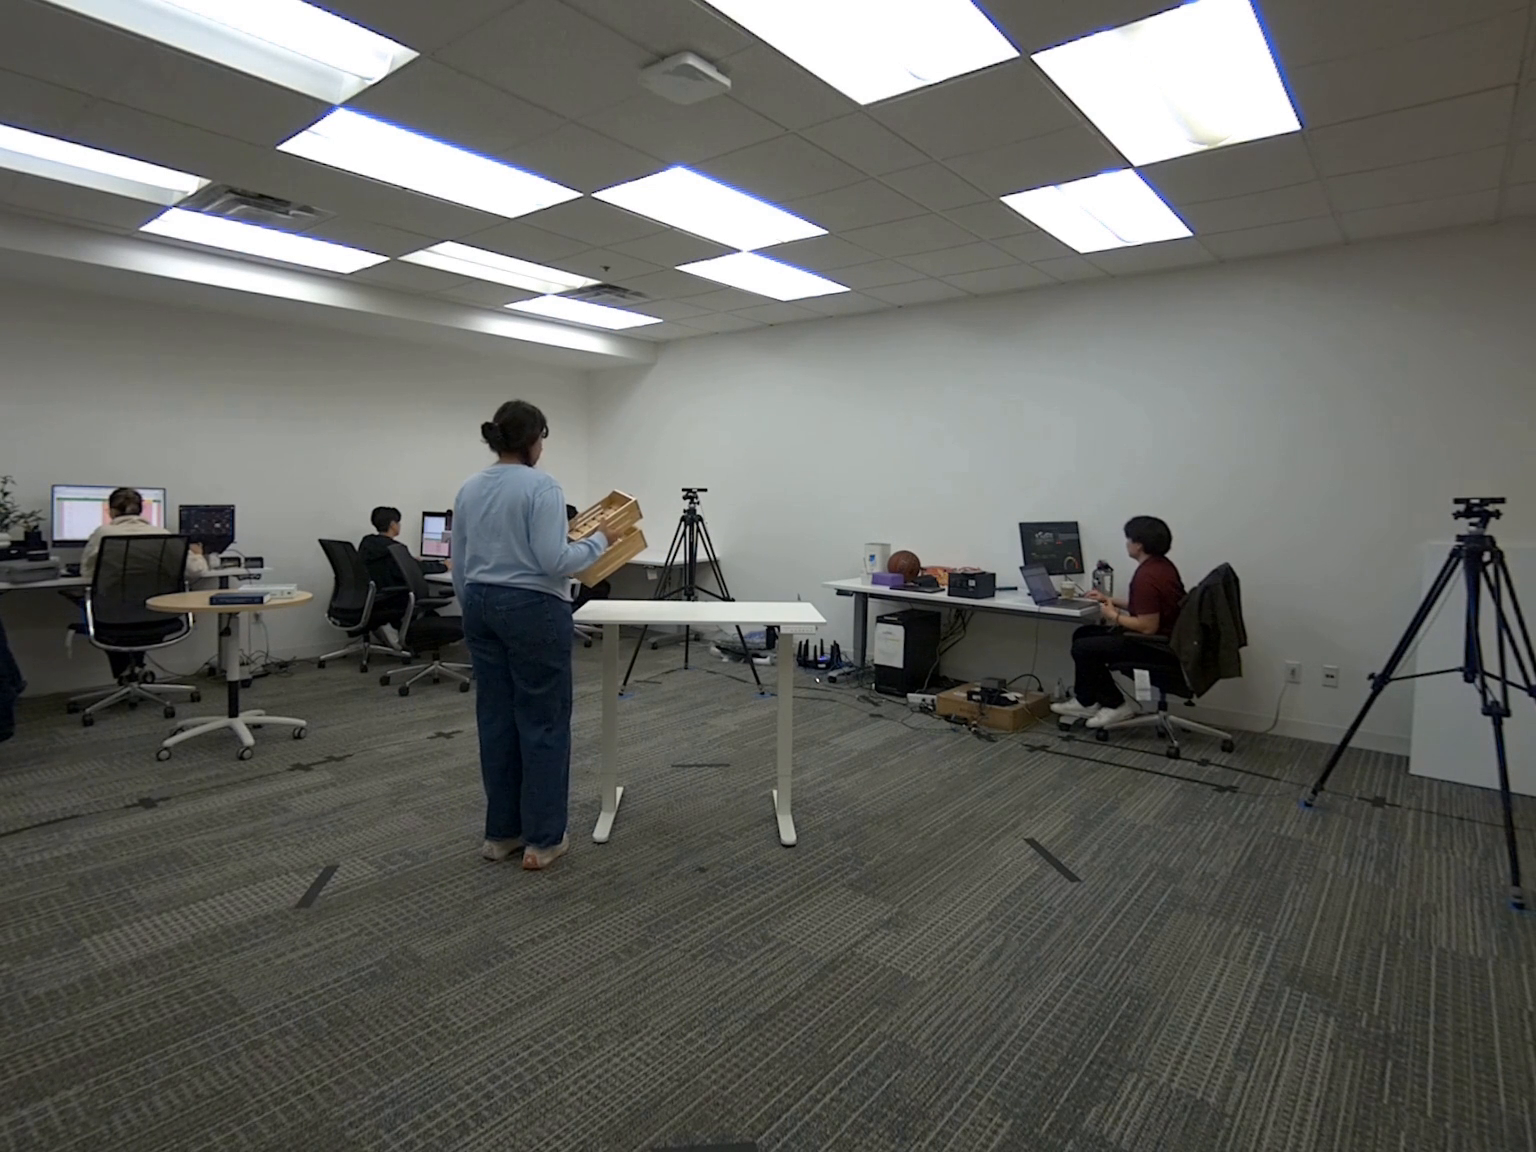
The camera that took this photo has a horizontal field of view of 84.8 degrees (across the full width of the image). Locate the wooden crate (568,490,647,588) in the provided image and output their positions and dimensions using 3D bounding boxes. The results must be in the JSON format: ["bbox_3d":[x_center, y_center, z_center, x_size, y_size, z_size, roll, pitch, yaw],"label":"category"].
[{"bbox_3d":[-0.710,-0.175,3.439,0.322,0.264,0.314,-38,41,-26],"label":"wooden crate"}]
